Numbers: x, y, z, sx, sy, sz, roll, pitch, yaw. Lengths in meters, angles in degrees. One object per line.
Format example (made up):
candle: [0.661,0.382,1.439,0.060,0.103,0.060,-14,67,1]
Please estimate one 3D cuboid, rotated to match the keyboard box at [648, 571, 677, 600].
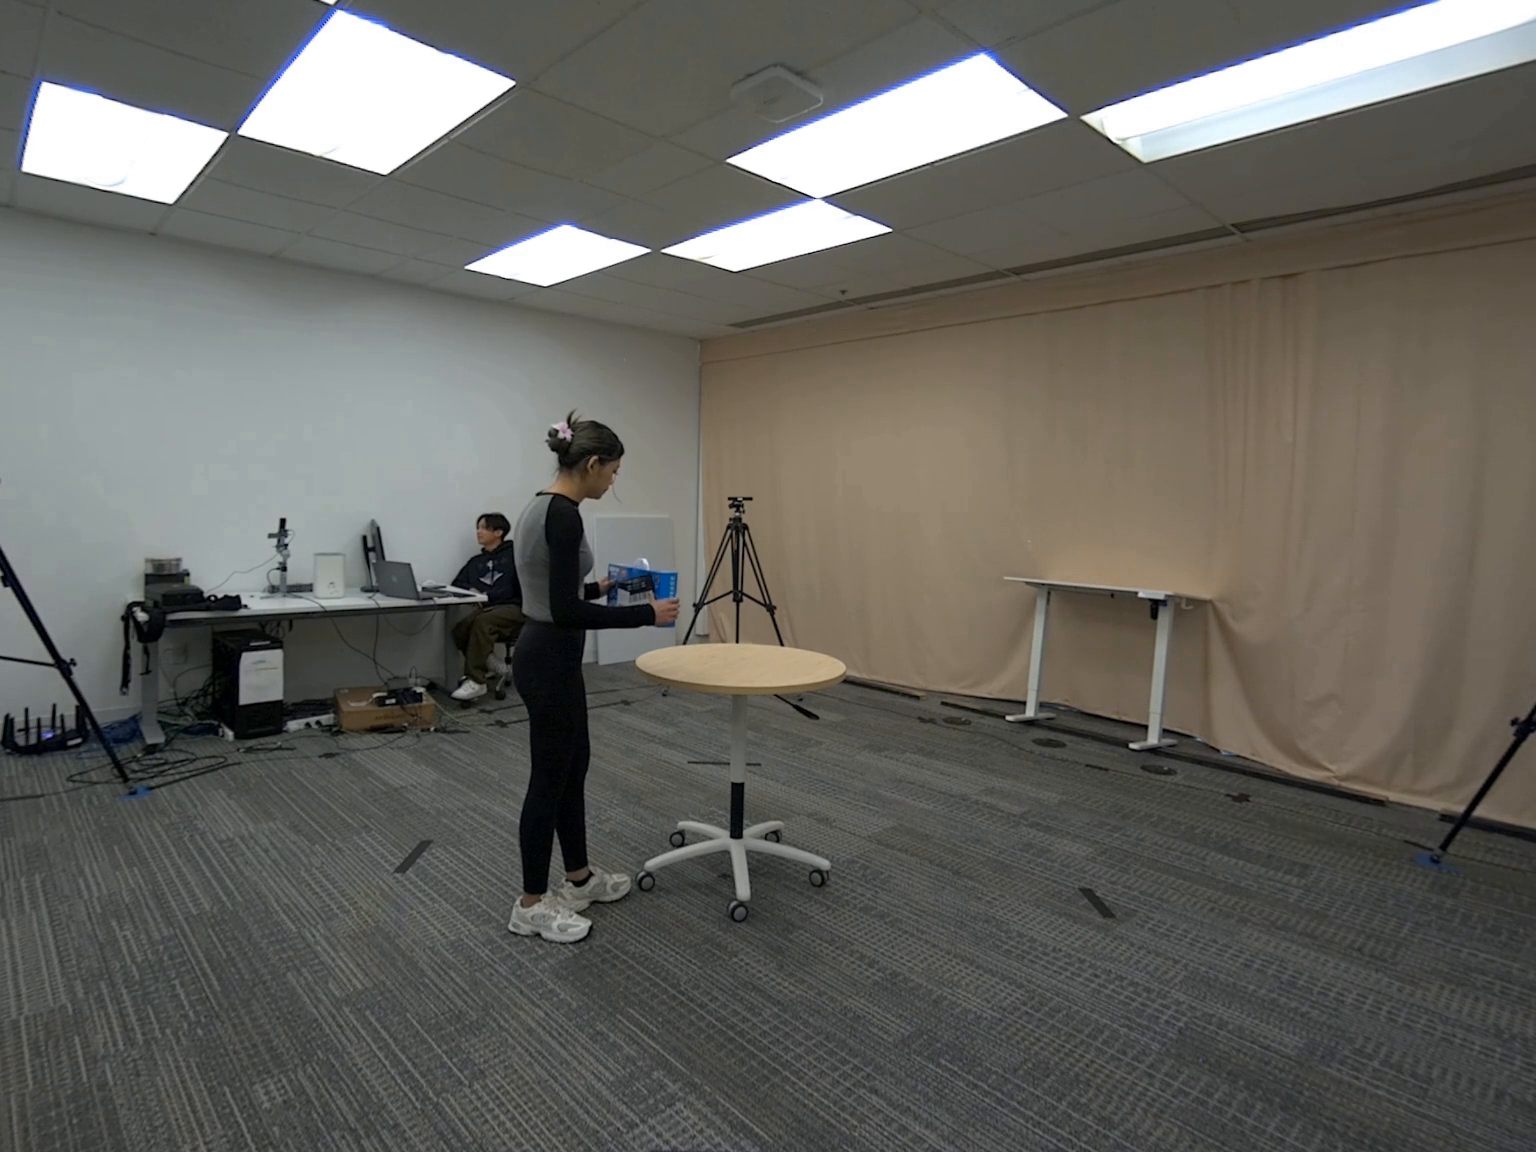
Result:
keyboard box: [-0.431,0.064,2.768,0.058,0.176,0.446,2,2,-30]
